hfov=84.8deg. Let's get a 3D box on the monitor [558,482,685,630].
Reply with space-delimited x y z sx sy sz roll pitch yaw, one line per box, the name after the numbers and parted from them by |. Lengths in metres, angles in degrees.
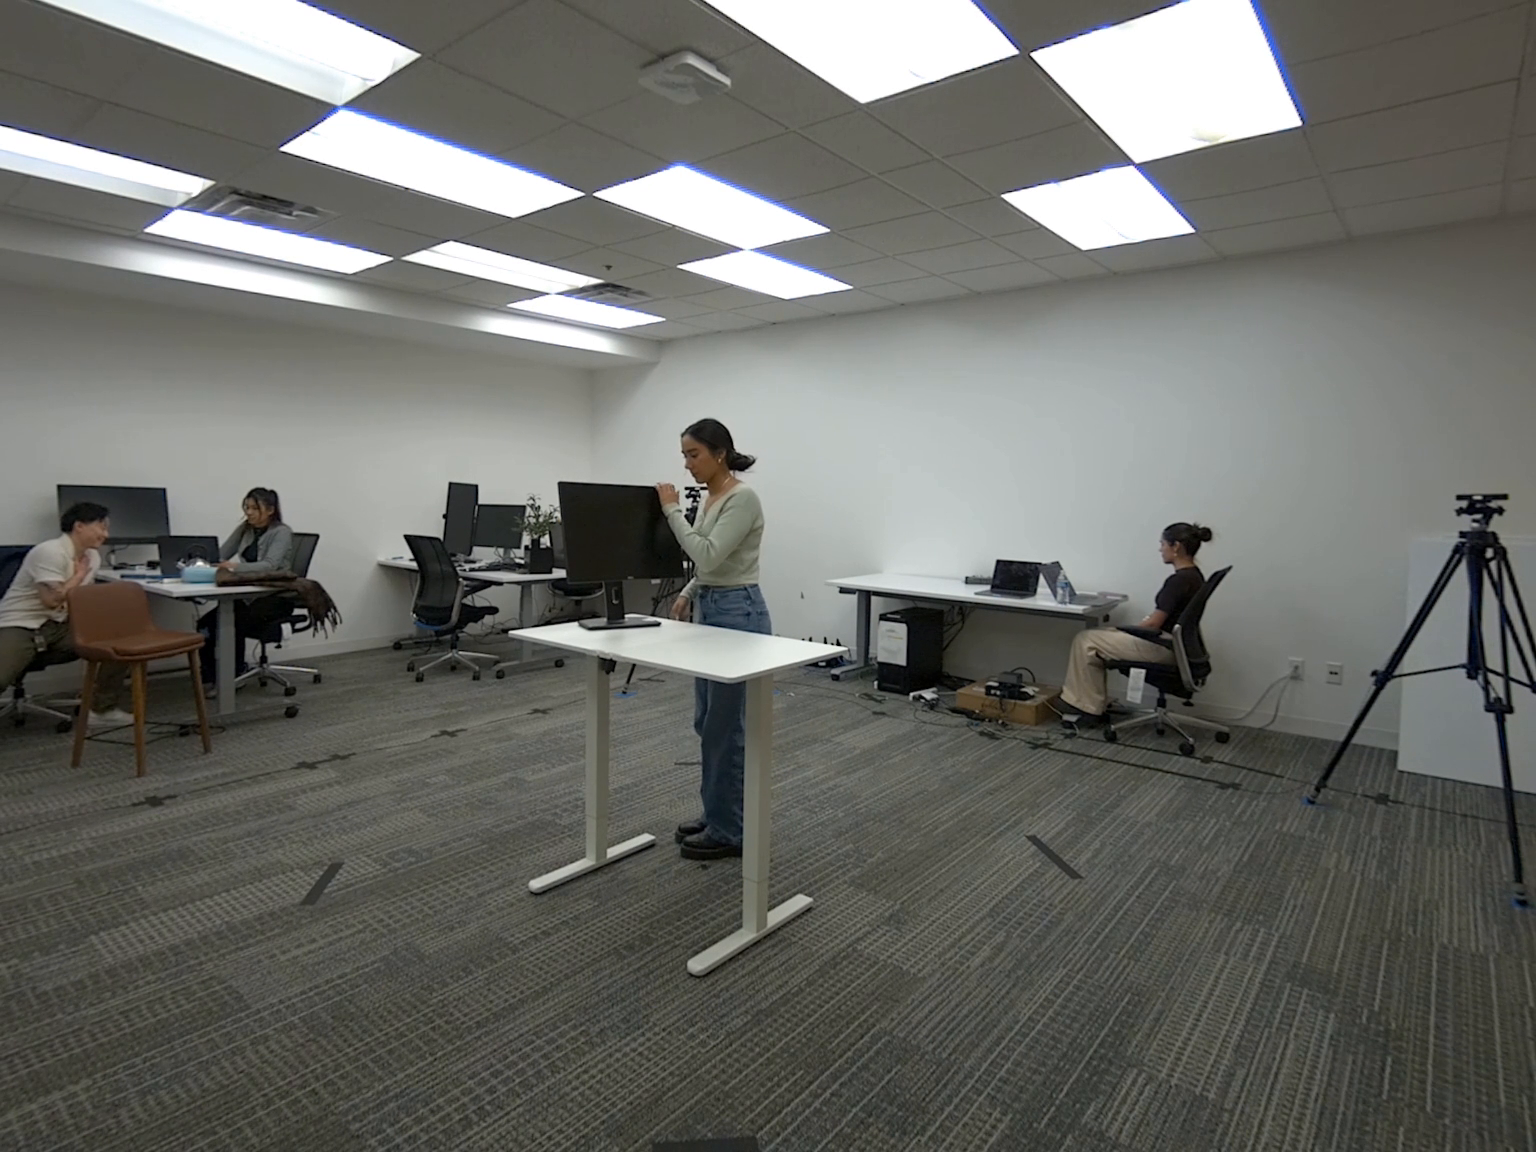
-0.561 -0.076 3.114 0.193 0.521 0.522 3 4 42 | monitor
